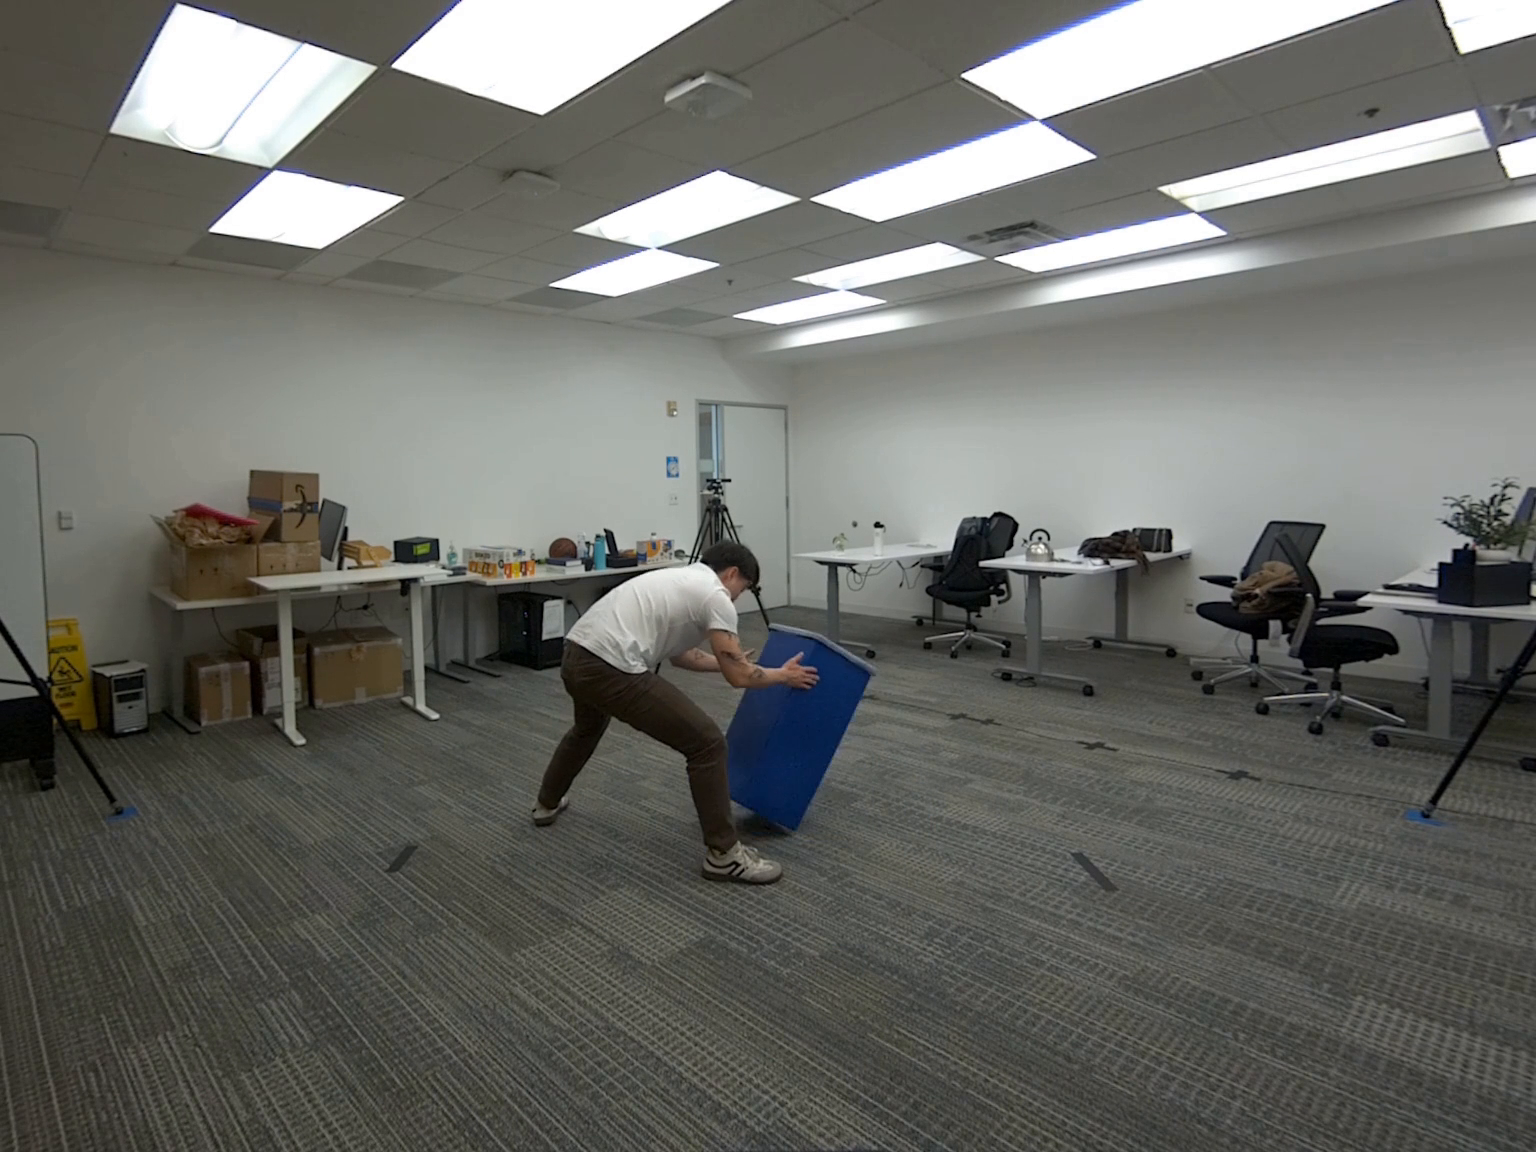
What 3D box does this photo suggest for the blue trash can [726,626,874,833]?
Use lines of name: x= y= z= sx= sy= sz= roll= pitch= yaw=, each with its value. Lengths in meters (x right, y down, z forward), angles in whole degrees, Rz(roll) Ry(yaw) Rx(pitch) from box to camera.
blue trash can: x=0.072 y=0.623 z=3.485 sx=0.366 sy=0.717 sz=0.384 roll=34 pitch=-14 yaw=-27
